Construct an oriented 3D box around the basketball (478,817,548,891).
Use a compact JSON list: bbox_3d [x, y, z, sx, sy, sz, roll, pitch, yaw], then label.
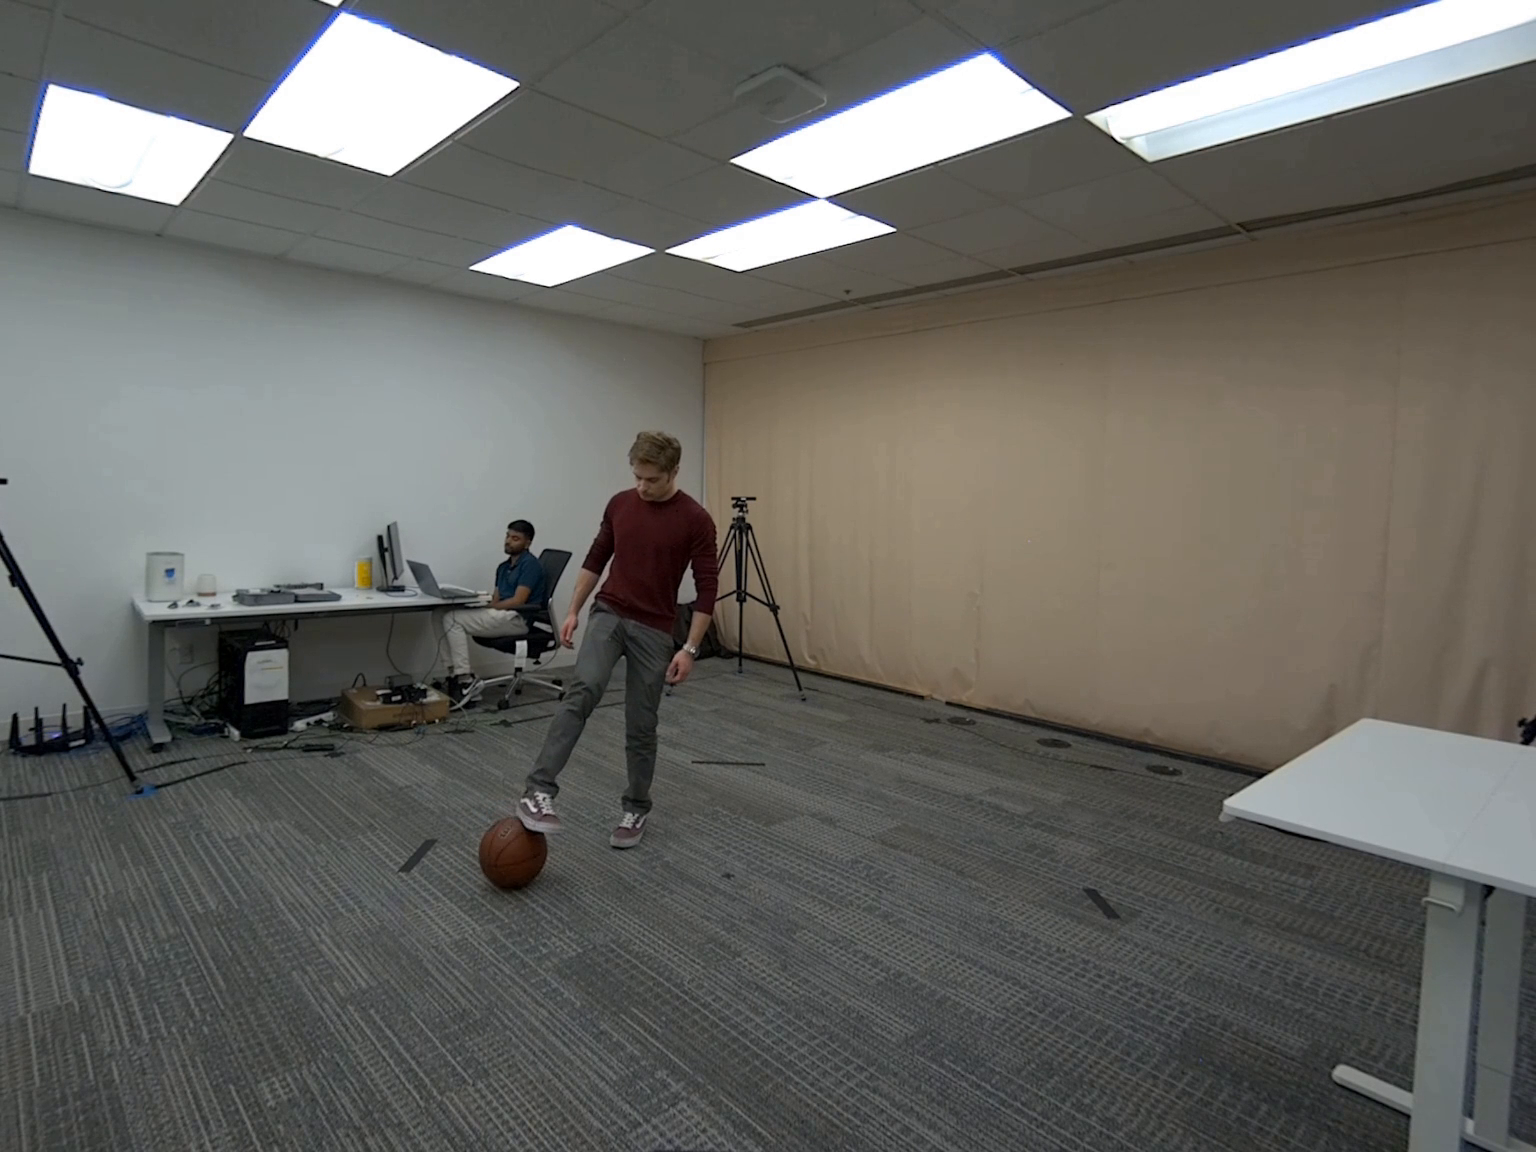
[{"bbox_3d":[-0.916,0.982,2.986,0.236,0.235,0.237,1,4,-1],"label":"basketball"}]
